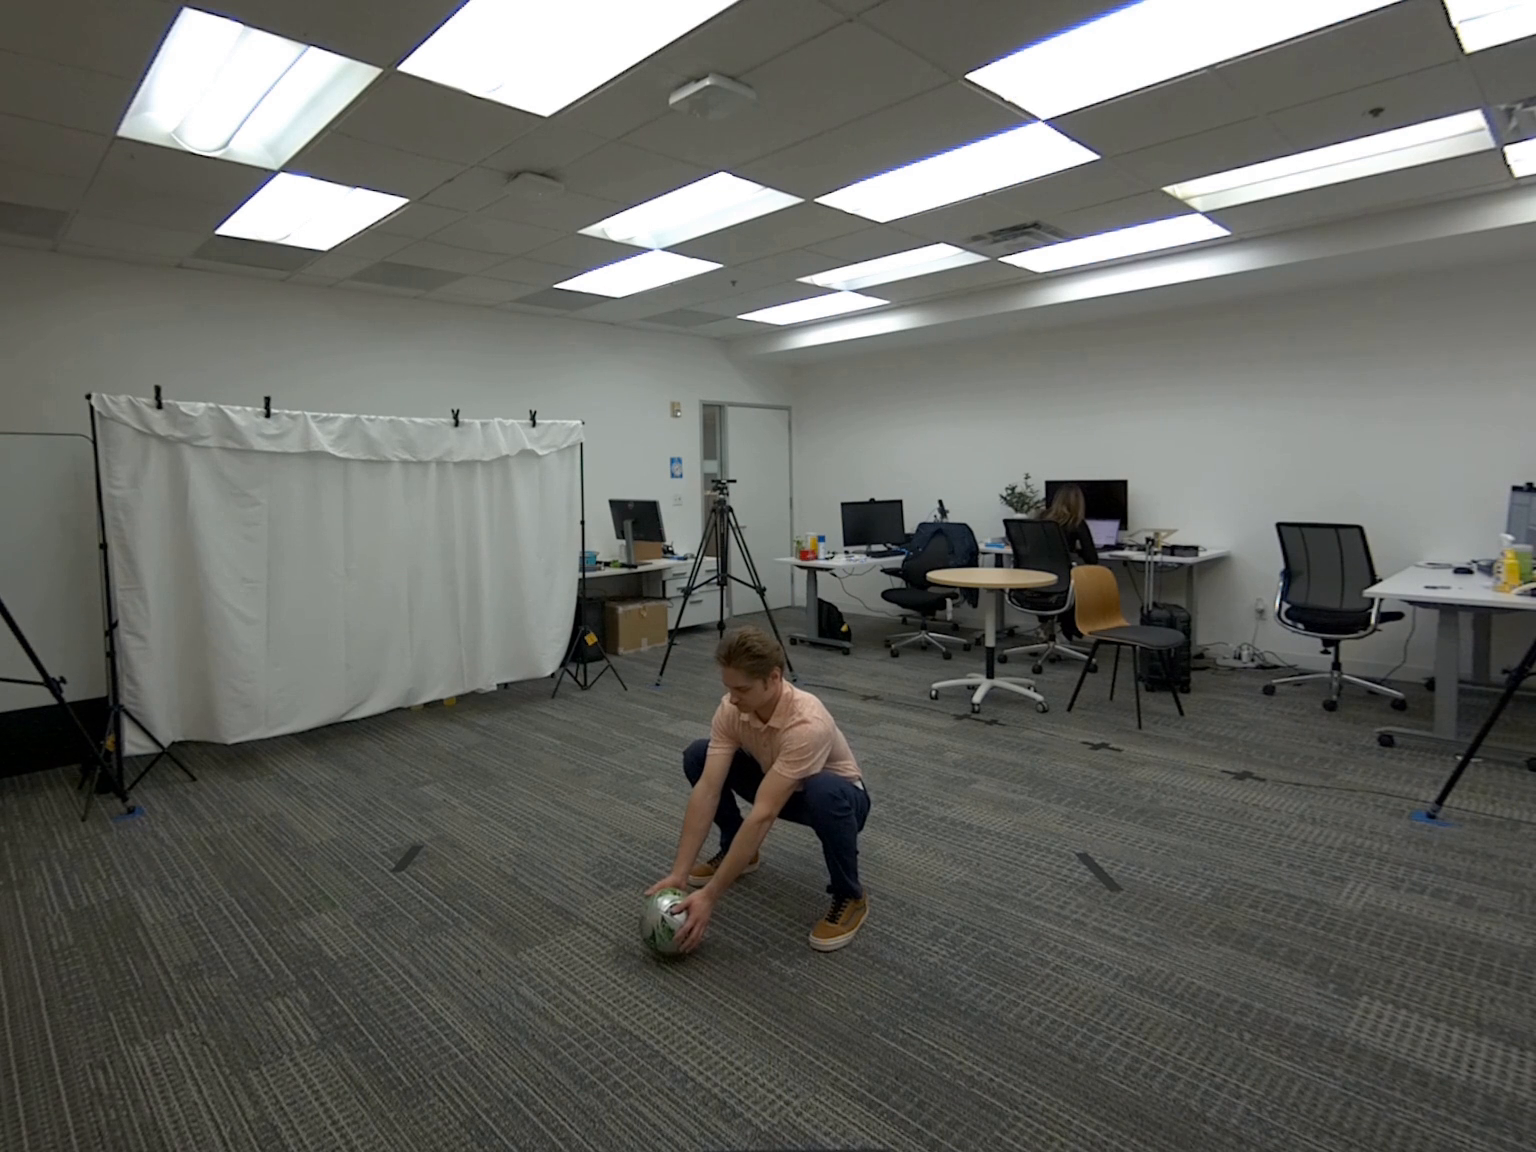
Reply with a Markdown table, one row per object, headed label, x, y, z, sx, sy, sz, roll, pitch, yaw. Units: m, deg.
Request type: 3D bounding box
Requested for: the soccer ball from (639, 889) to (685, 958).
| label | x | y | z | sx | sy | sz | roll | pitch | yaw |
| --- | --- | --- | --- | --- | --- | --- | --- | --- | --- |
| soccer ball | -0.285 | 1.027 | 2.532 | 0.187 | 0.187 | 0.188 | -1 | 5 | -2 |
